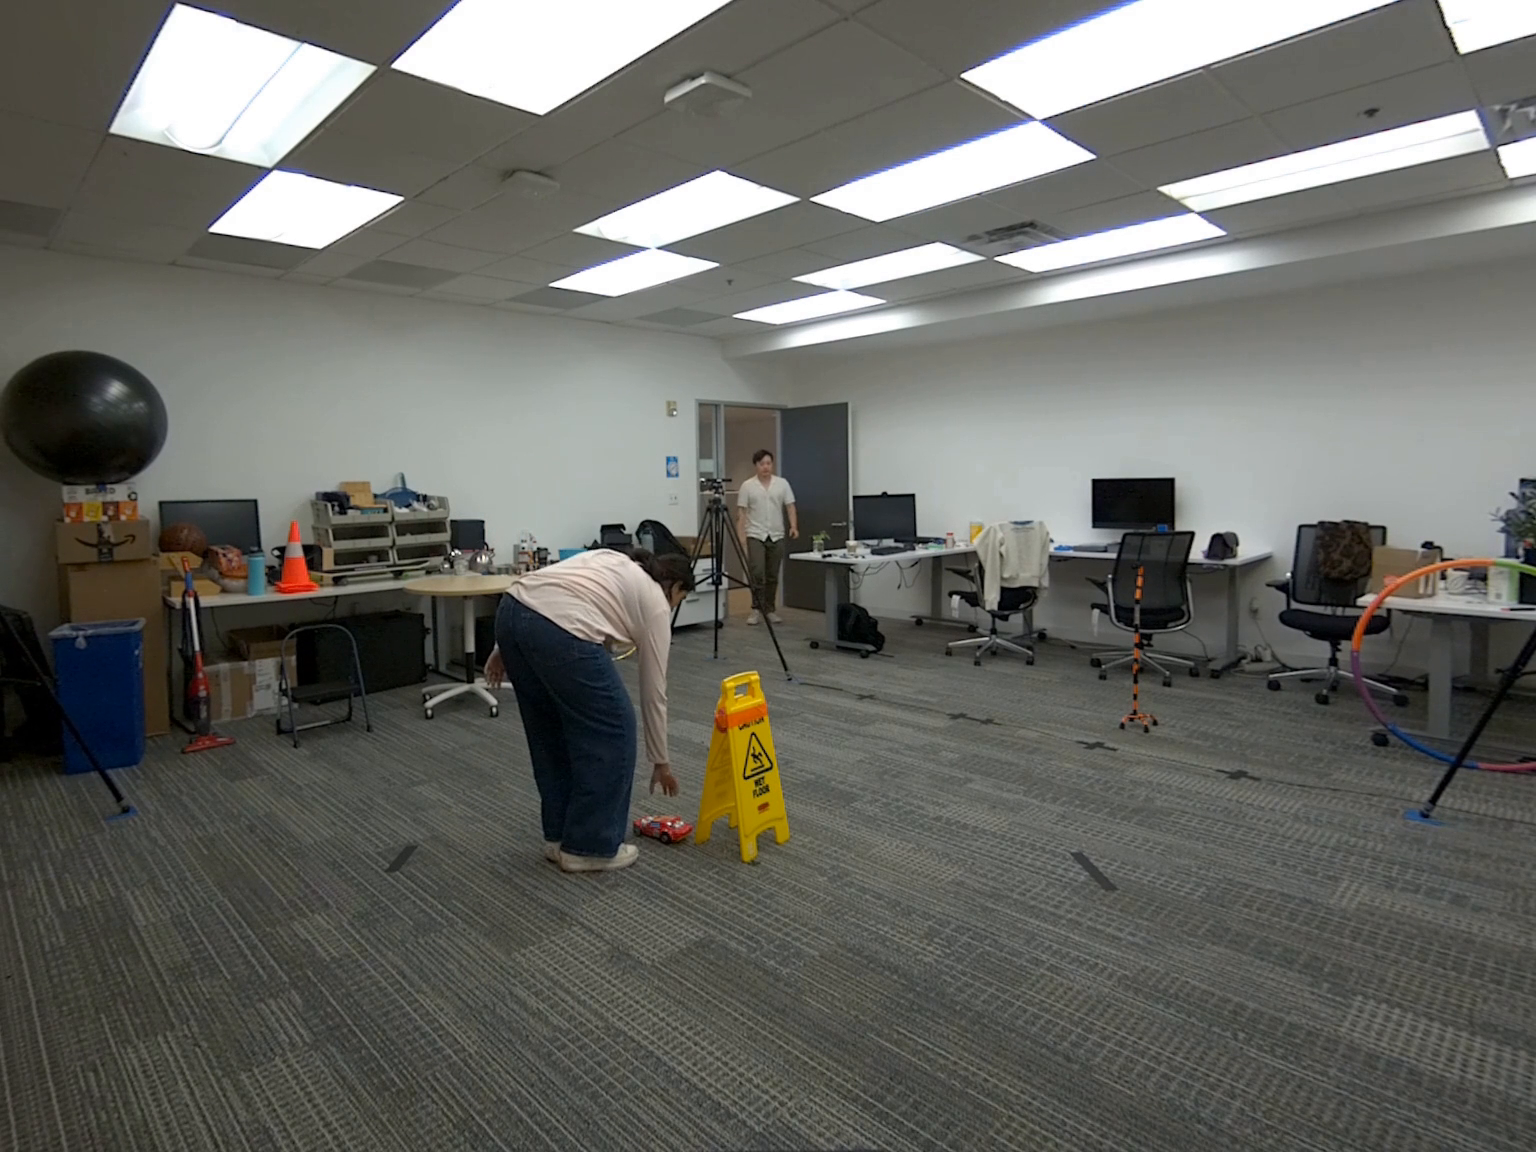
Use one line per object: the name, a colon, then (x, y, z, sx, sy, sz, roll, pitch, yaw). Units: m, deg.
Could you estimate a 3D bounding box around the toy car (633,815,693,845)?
toy car: (-0.407, 0.987, 3.348, 0.260, 0.083, 0.127, -10, 0, 35)
